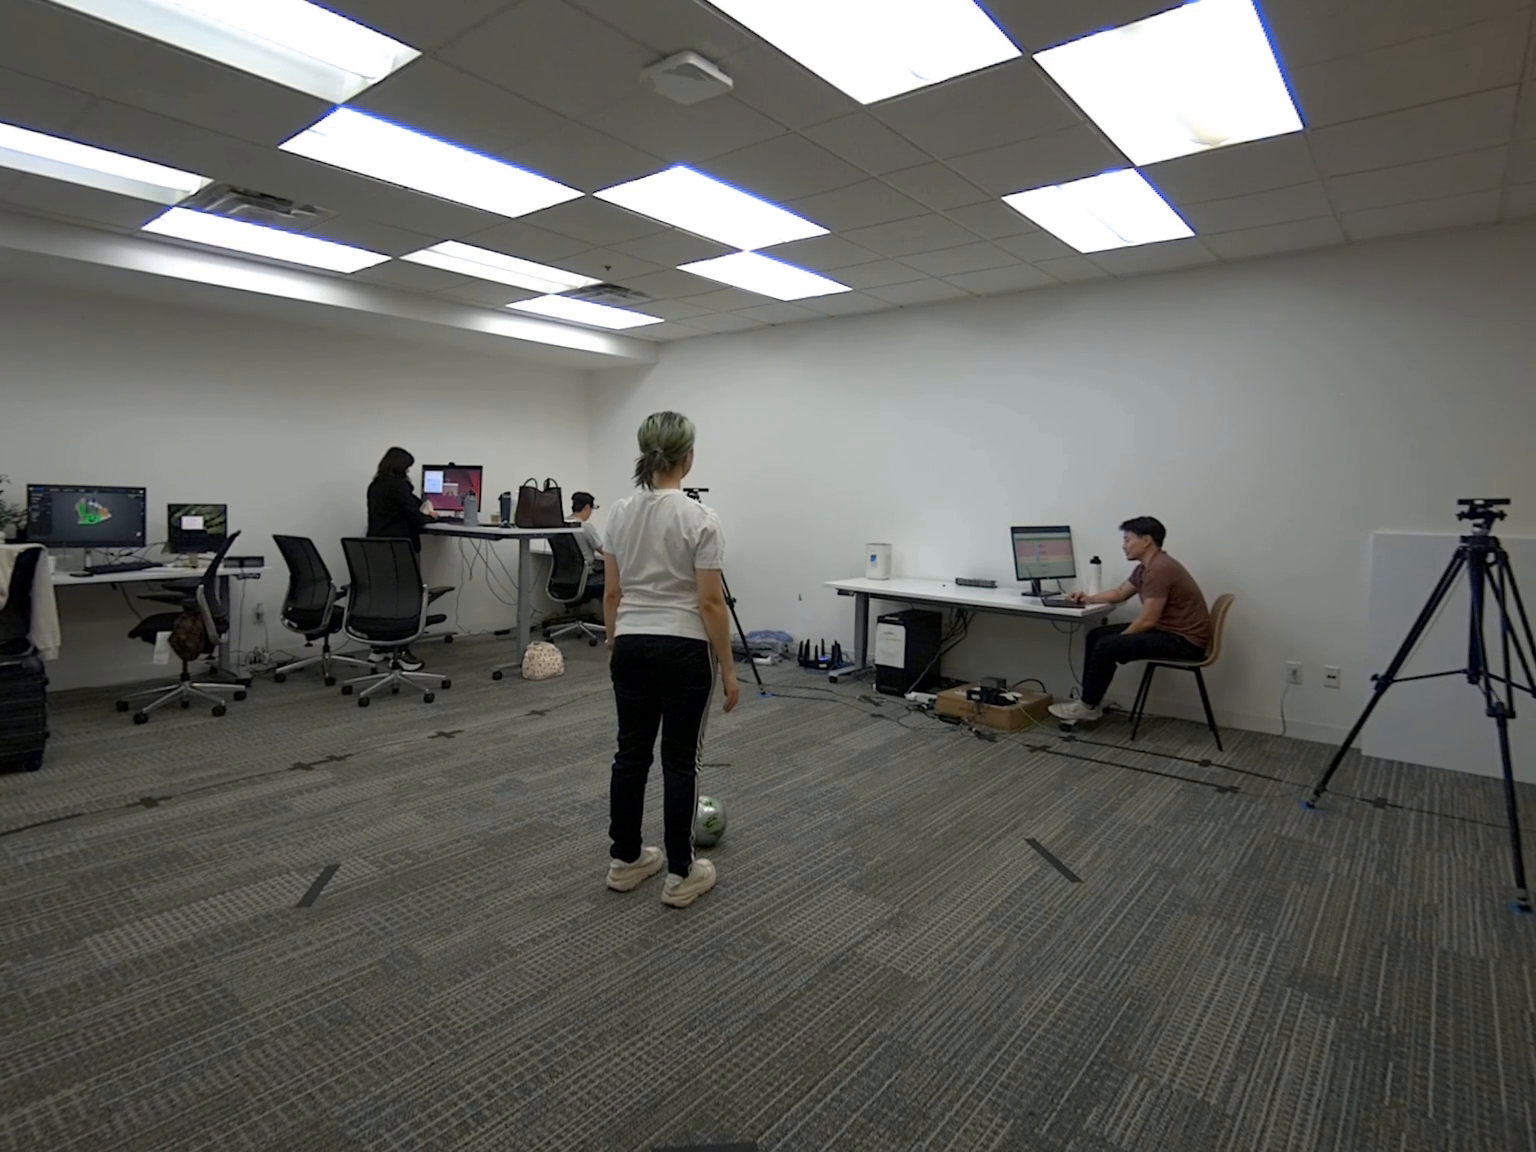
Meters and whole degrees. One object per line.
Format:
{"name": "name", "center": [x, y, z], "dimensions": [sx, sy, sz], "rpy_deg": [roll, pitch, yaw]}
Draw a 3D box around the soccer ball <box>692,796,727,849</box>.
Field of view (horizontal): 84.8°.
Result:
{"name": "soccer ball", "center": [-0.263, 0.954, 3.334], "dimensions": [0.187, 0.187, 0.188], "rpy_deg": [1, 4, -2]}
